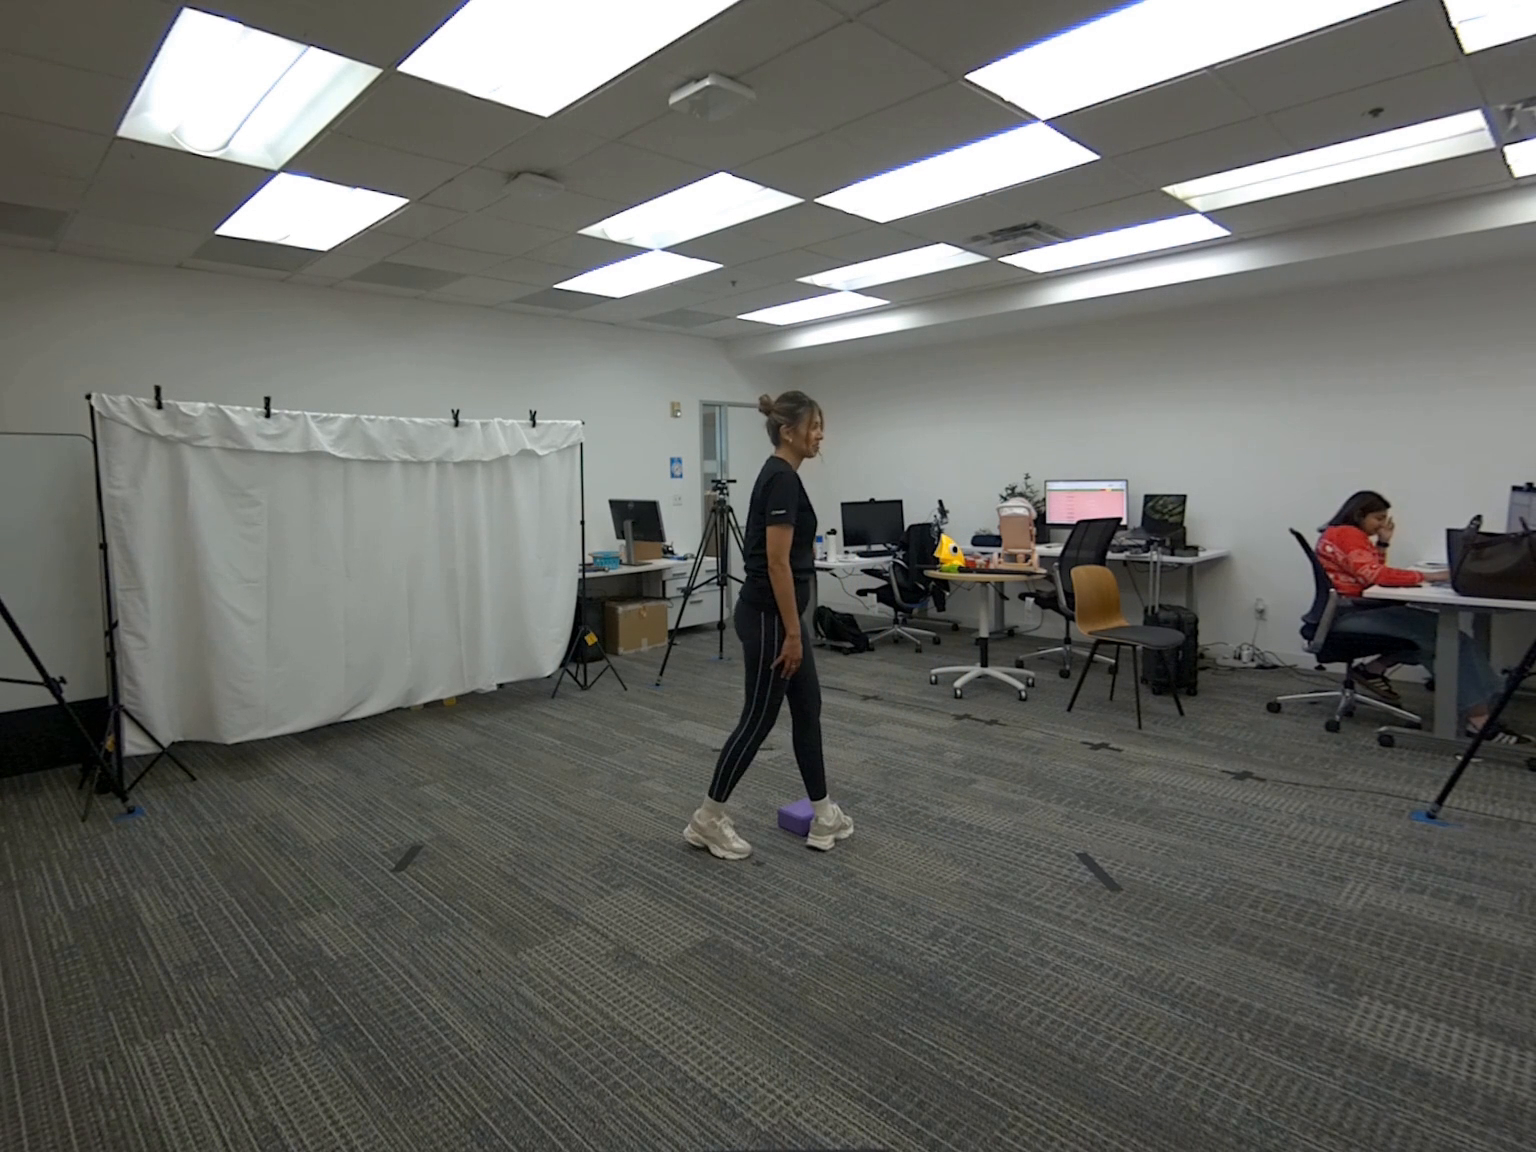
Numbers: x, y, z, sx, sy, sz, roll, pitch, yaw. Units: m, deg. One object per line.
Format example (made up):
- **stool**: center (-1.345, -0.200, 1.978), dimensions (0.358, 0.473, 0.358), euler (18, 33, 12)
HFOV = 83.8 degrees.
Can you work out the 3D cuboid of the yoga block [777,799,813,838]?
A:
- **yoga block**: center (0.171, 0.964, 3.452), dimensions (0.223, 0.076, 0.153), euler (-6, 8, -42)
